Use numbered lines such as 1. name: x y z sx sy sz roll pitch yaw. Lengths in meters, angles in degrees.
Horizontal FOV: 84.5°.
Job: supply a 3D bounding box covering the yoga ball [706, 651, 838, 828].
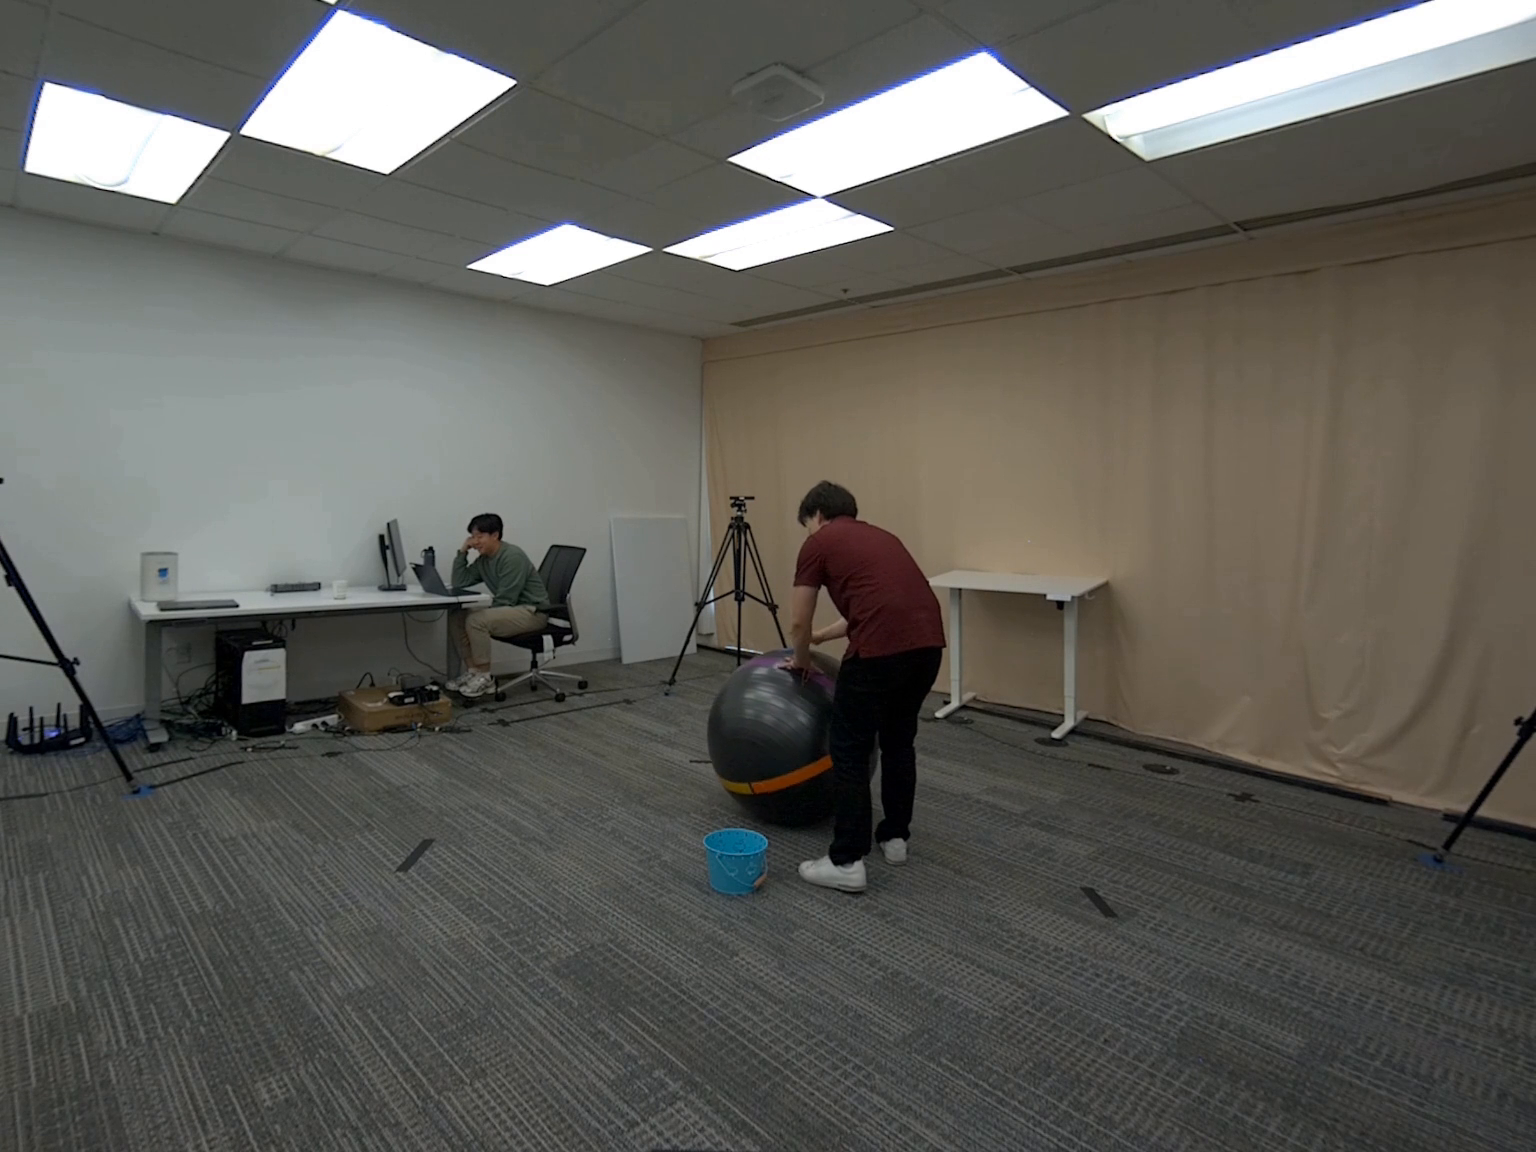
1. yoga ball: 0.111 0.700 3.700 0.757 0.756 0.761 1 4 -1
